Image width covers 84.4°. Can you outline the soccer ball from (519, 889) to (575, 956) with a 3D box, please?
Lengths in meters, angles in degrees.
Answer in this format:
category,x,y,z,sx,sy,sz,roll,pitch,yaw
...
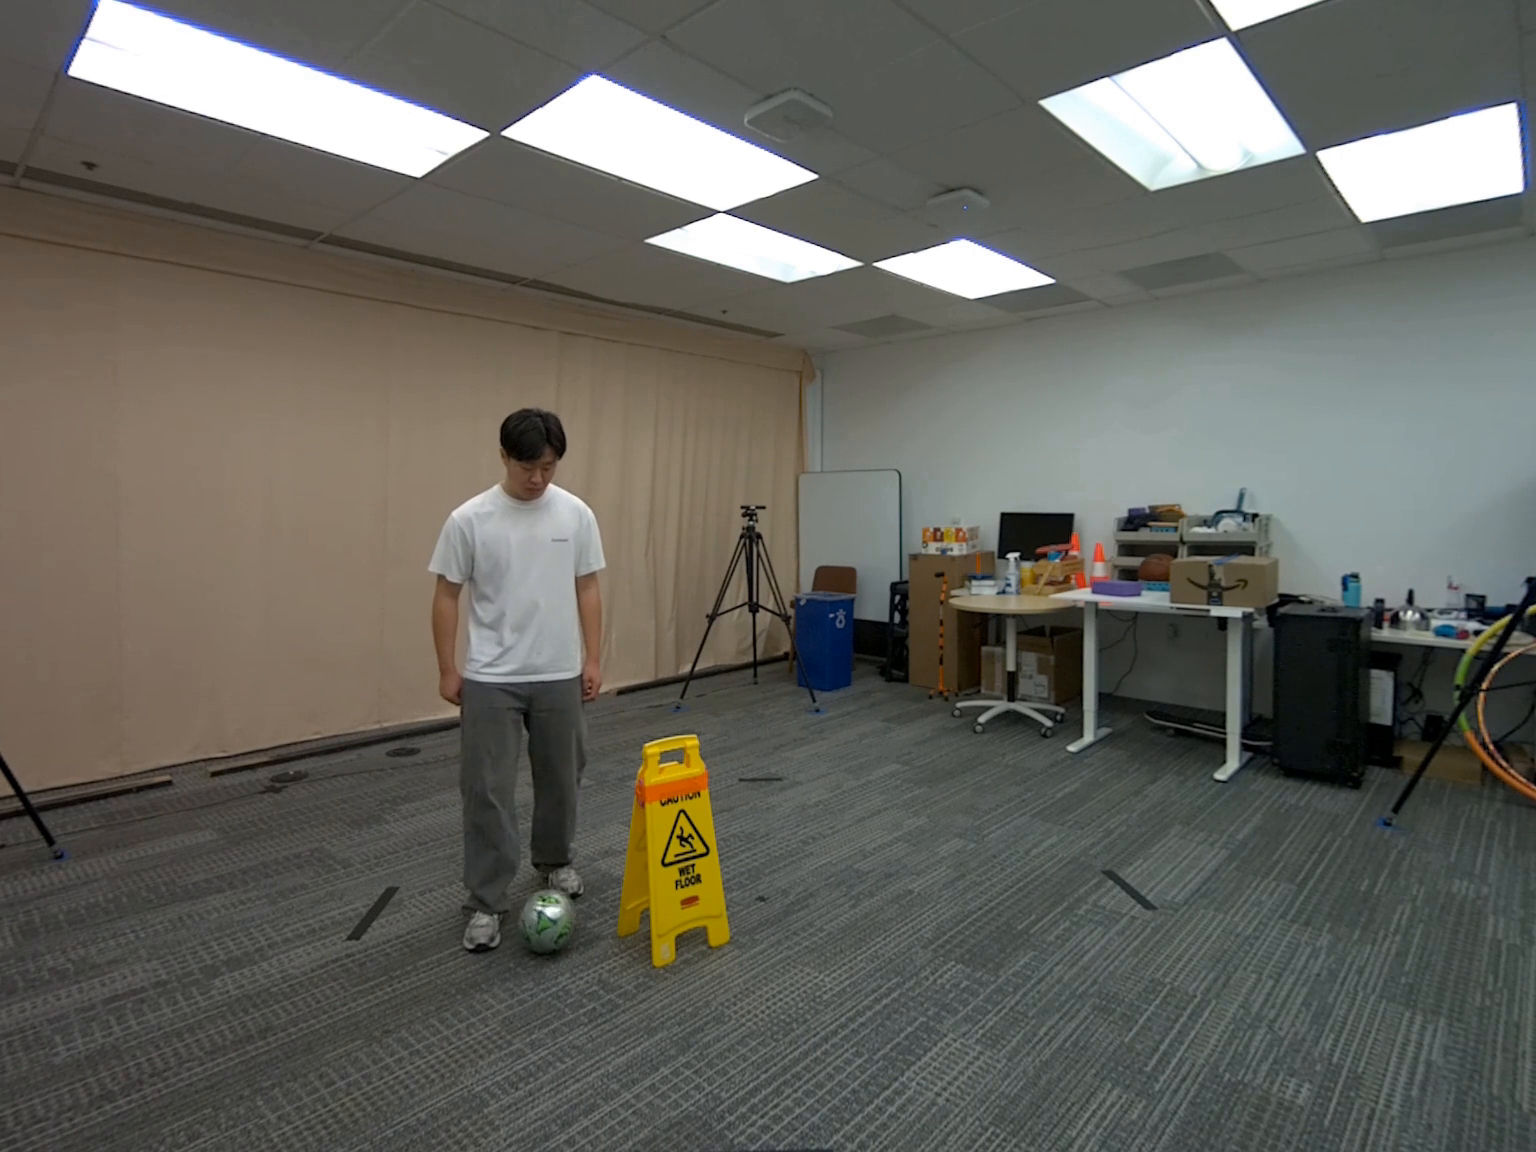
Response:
category,x,y,z,sx,sy,sz,roll,pitch,yaw
soccer ball,-0.686,1.092,2.644,0.187,0.187,0.188,0,4,-2
